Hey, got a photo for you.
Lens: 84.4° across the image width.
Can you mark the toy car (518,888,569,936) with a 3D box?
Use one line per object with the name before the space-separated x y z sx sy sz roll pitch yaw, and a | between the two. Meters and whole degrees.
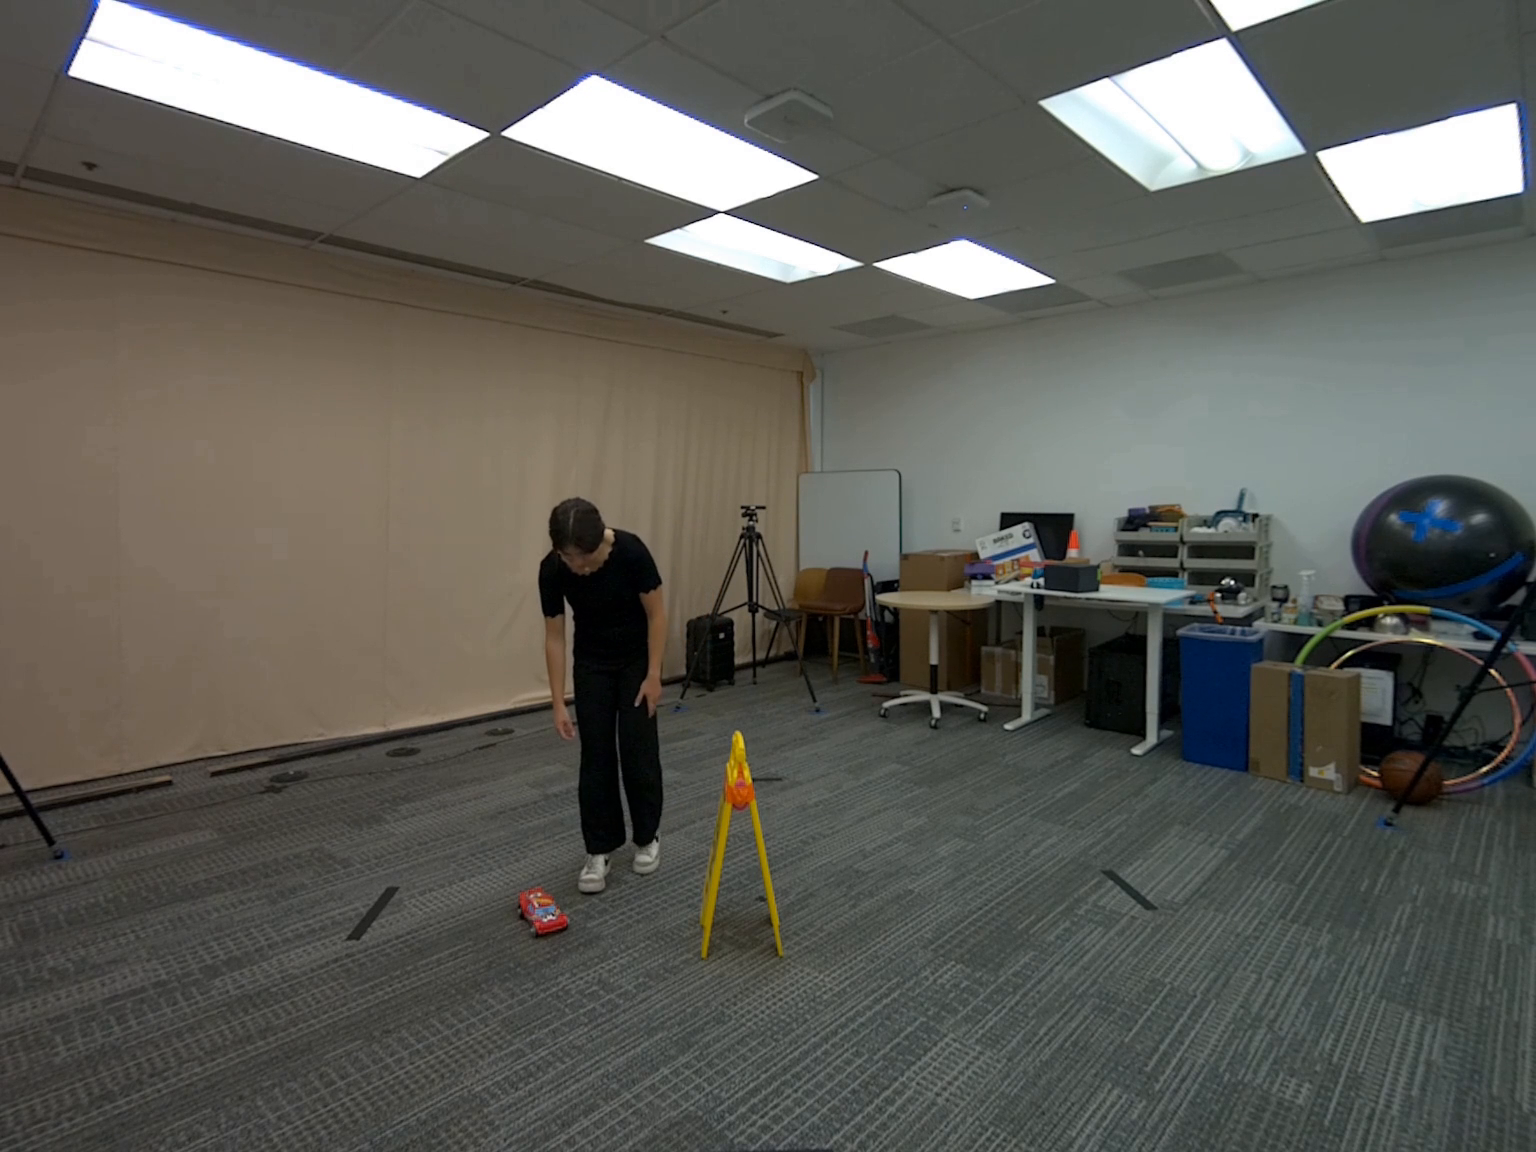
toy car | -0.767 1.126 2.834 0.127 0.082 0.263 -2 16 -29
